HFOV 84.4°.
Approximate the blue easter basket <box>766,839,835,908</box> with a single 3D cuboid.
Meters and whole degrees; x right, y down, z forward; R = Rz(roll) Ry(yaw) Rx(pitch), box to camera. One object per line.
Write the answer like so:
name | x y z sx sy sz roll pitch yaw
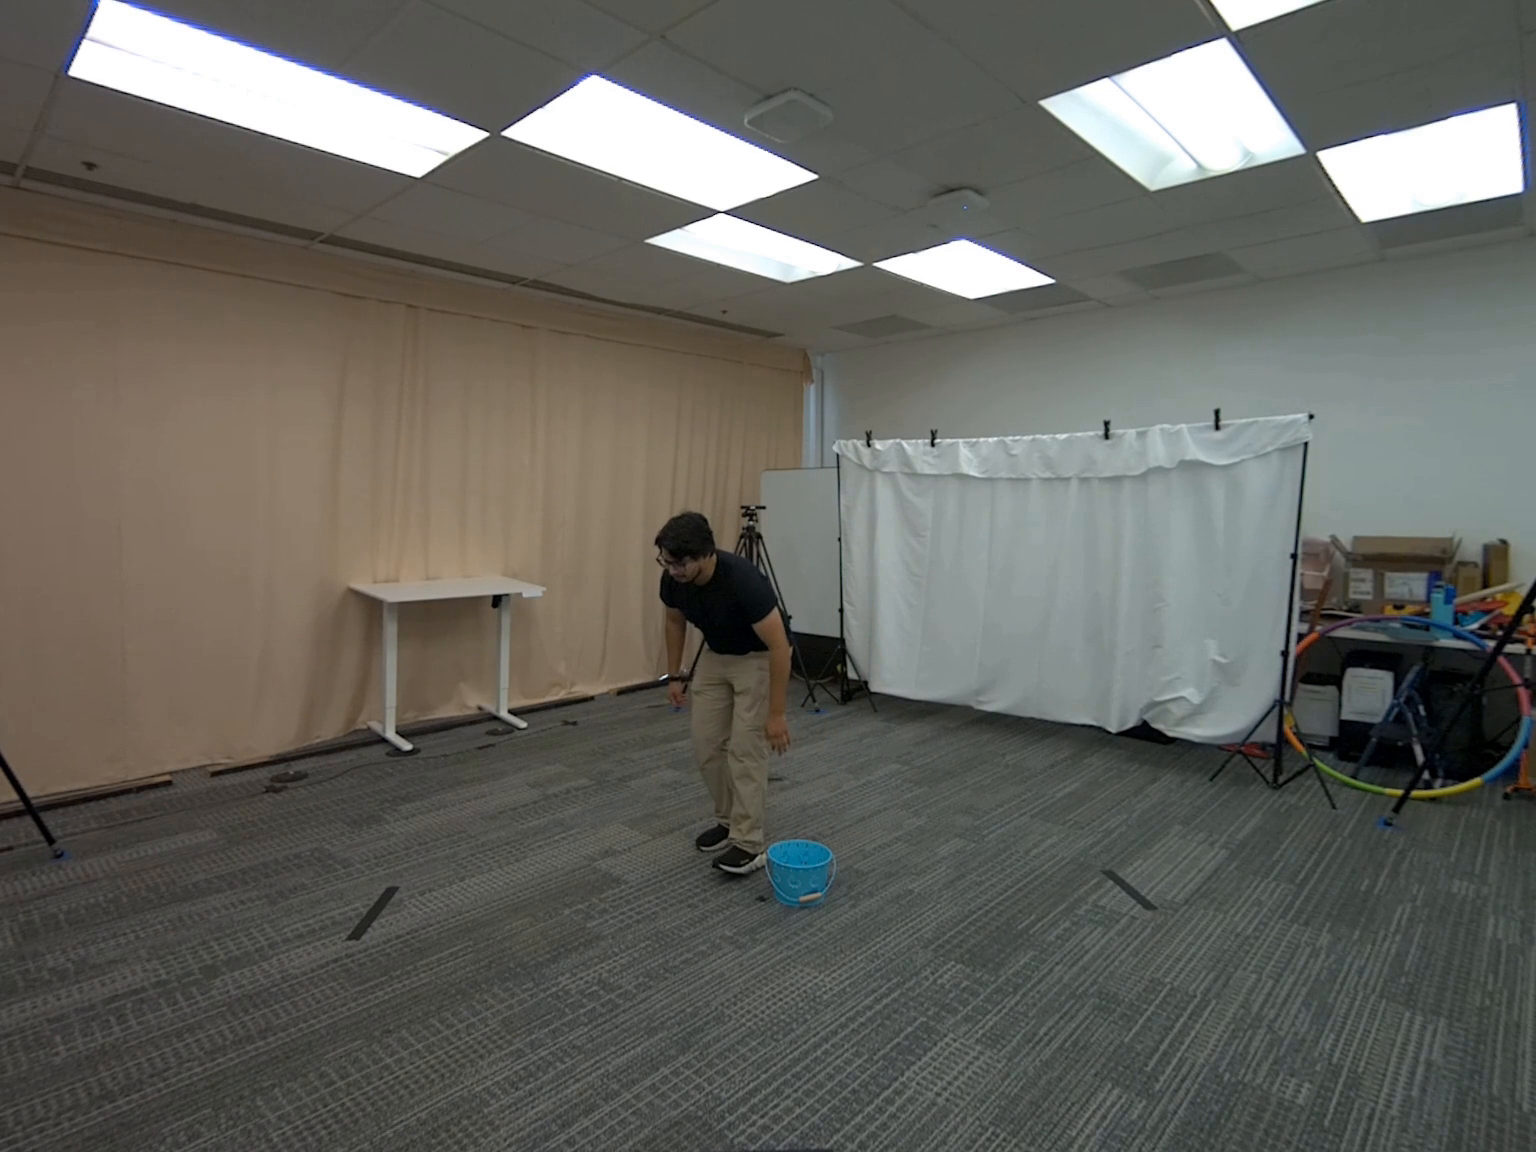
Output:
blue easter basket | 0.109 1.062 3.002 0.243 0.155 0.244 0 4 -2
